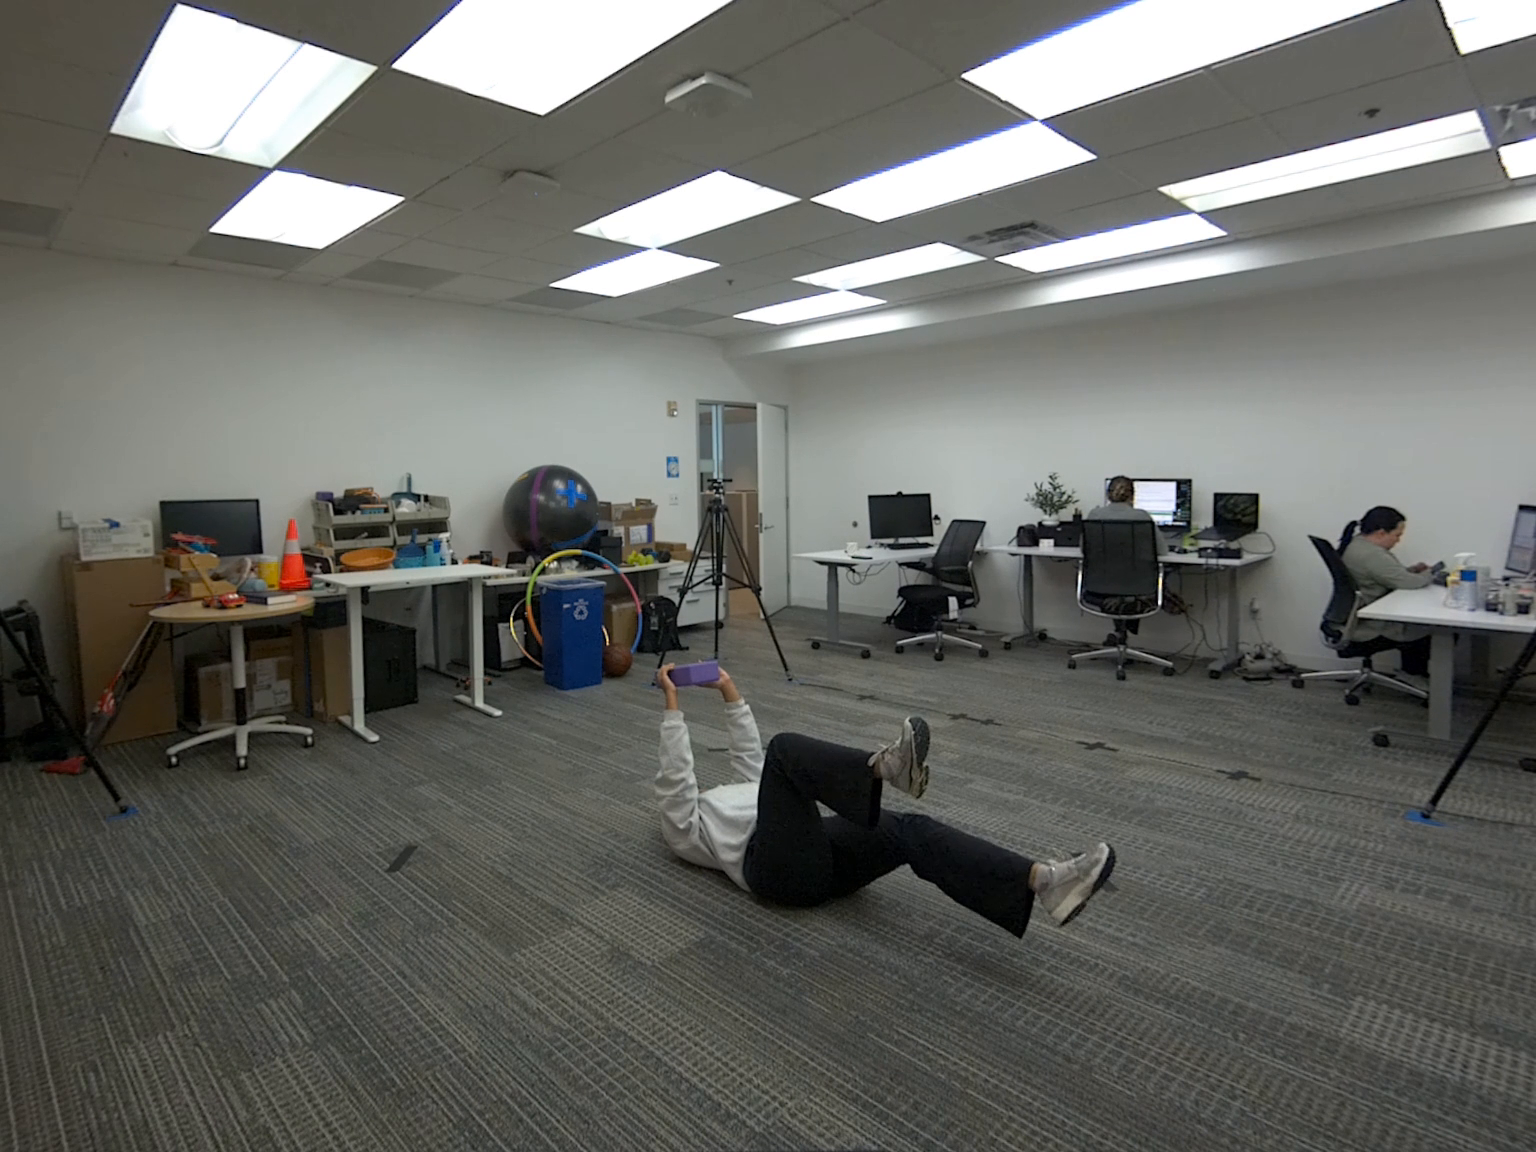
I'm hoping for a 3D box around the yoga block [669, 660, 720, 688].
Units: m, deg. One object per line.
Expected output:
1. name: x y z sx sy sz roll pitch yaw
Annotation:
1. yoga block: -0.316 0.380 3.286 0.145 0.077 0.234 -2 -7 -44
